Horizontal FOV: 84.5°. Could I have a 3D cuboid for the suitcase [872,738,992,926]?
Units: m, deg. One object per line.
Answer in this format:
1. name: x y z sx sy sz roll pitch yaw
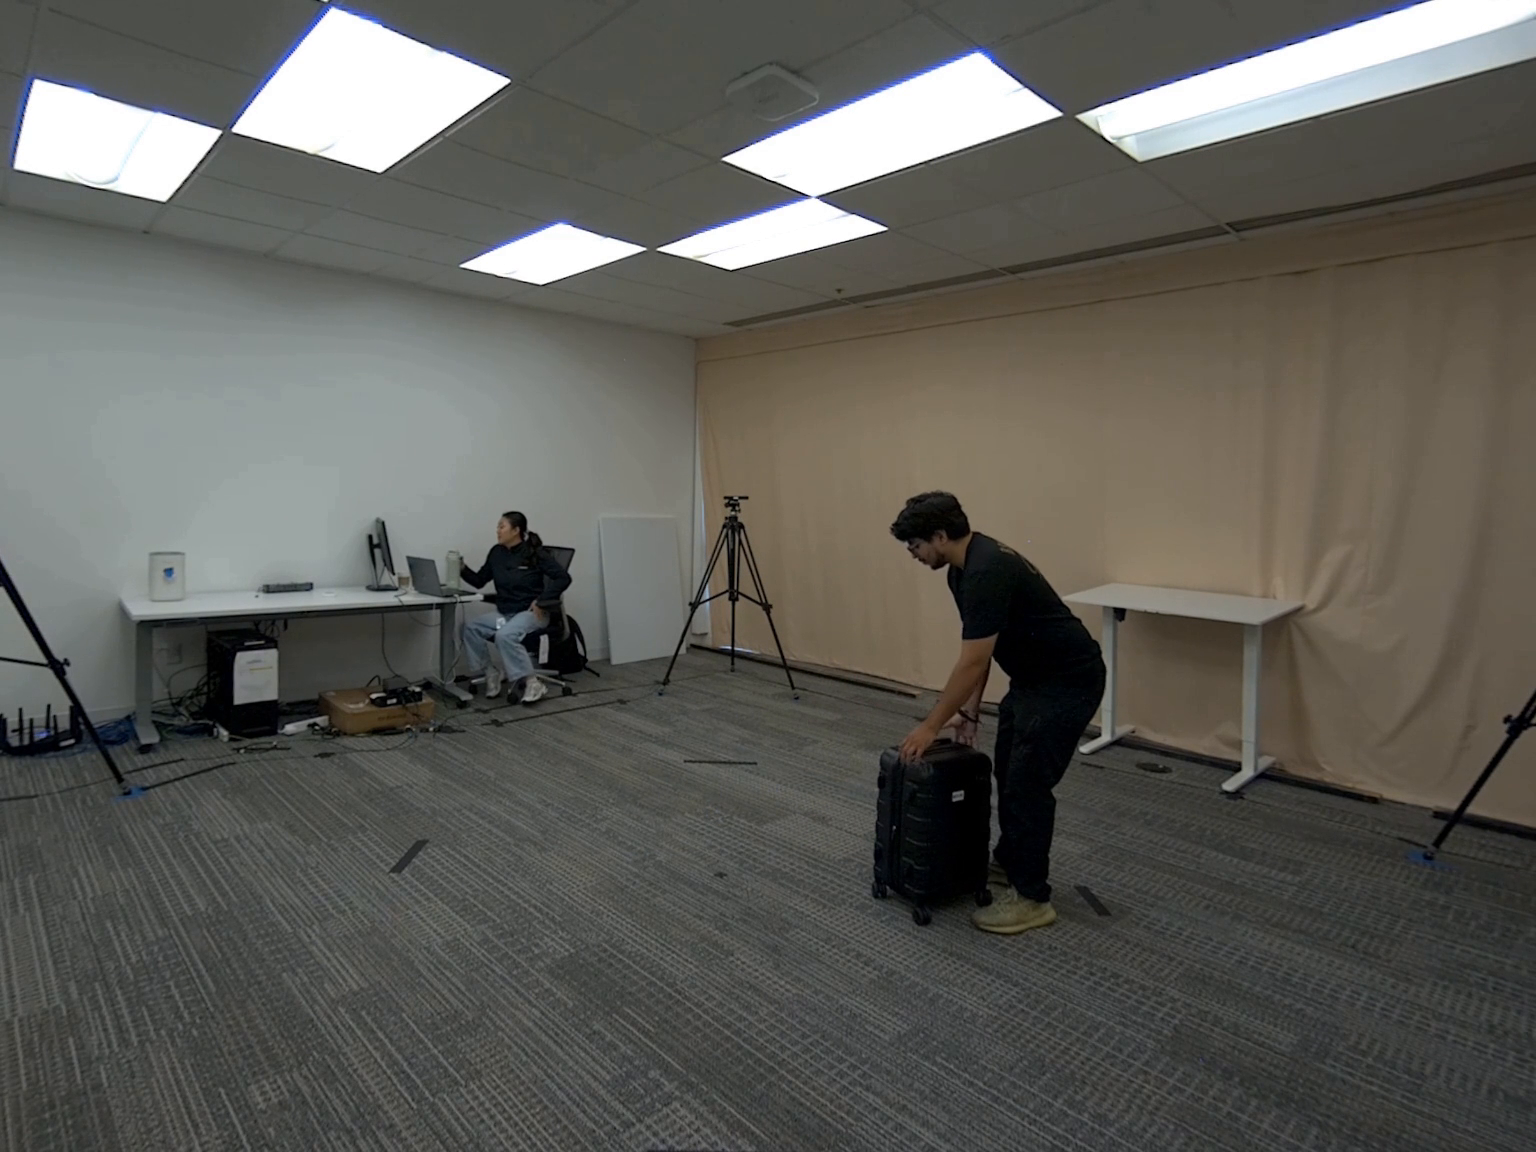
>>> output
1. suitcase: 0.577 0.856 2.937 0.367 0.548 0.254 0 3 -31
